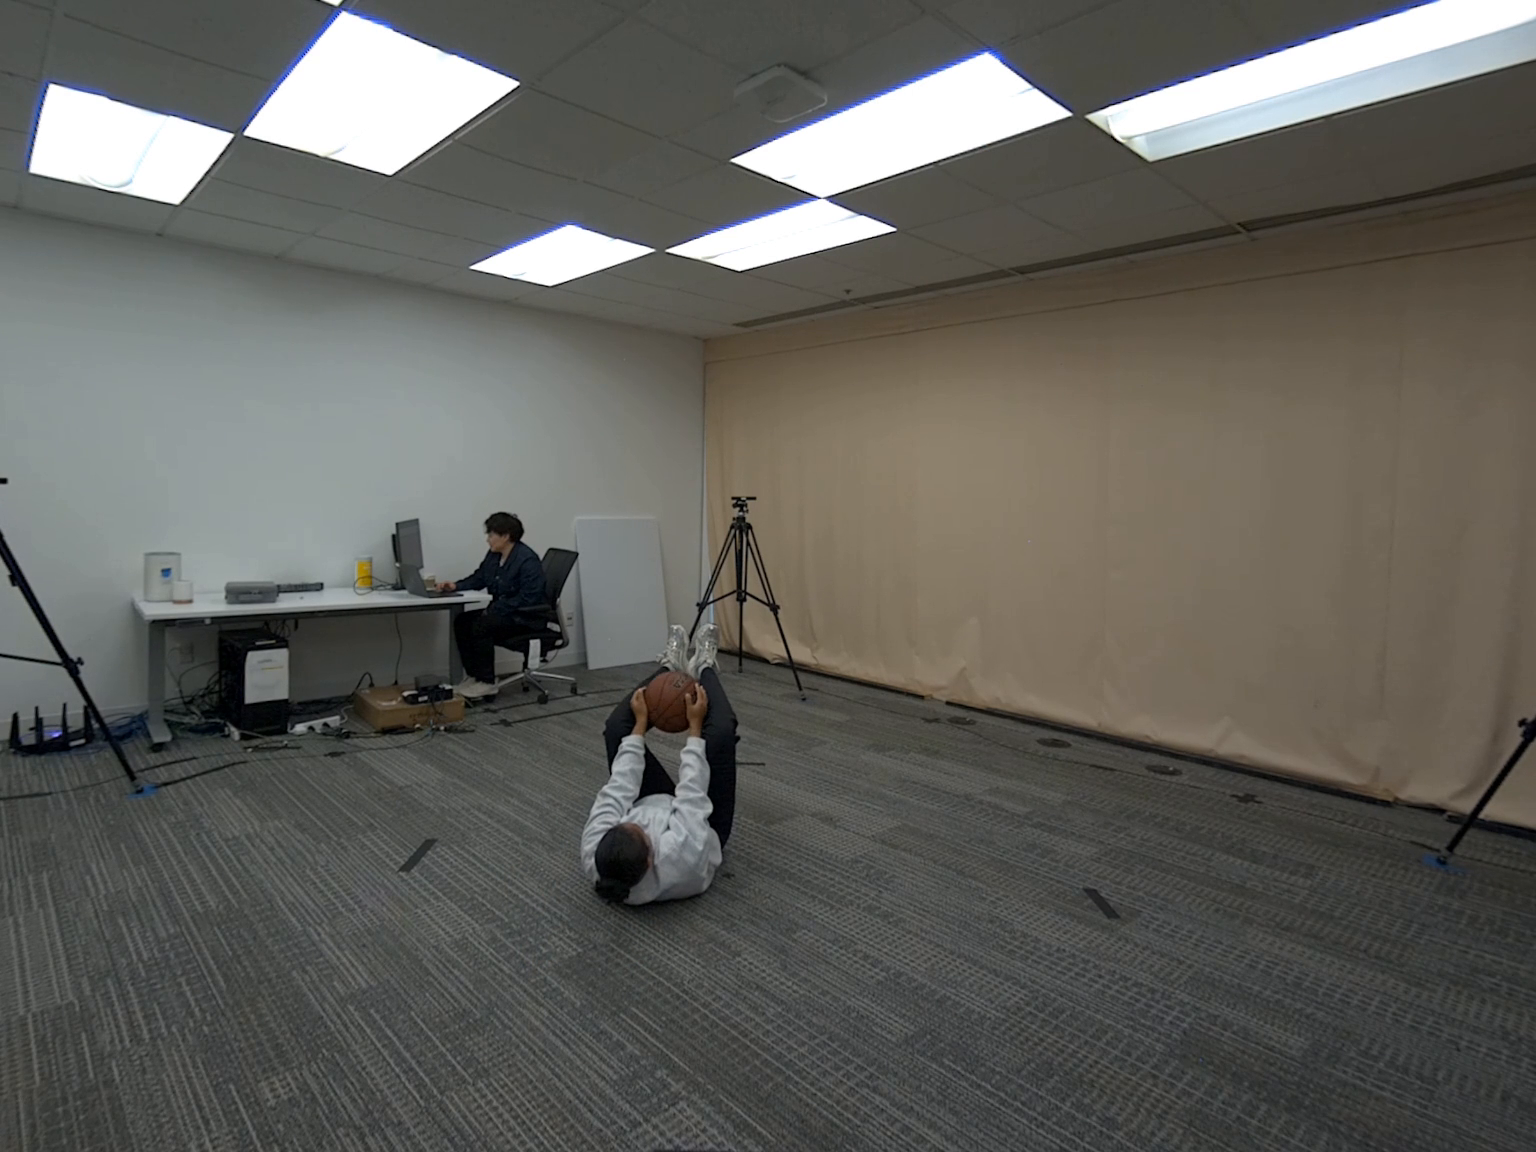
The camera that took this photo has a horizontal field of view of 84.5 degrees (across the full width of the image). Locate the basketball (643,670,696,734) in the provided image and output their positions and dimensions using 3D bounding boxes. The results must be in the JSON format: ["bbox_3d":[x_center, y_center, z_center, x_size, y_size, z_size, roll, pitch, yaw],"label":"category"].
[{"bbox_3d":[-0.374,0.492,3.289,0.236,0.235,0.237,1,5,-1],"label":"basketball"}]
